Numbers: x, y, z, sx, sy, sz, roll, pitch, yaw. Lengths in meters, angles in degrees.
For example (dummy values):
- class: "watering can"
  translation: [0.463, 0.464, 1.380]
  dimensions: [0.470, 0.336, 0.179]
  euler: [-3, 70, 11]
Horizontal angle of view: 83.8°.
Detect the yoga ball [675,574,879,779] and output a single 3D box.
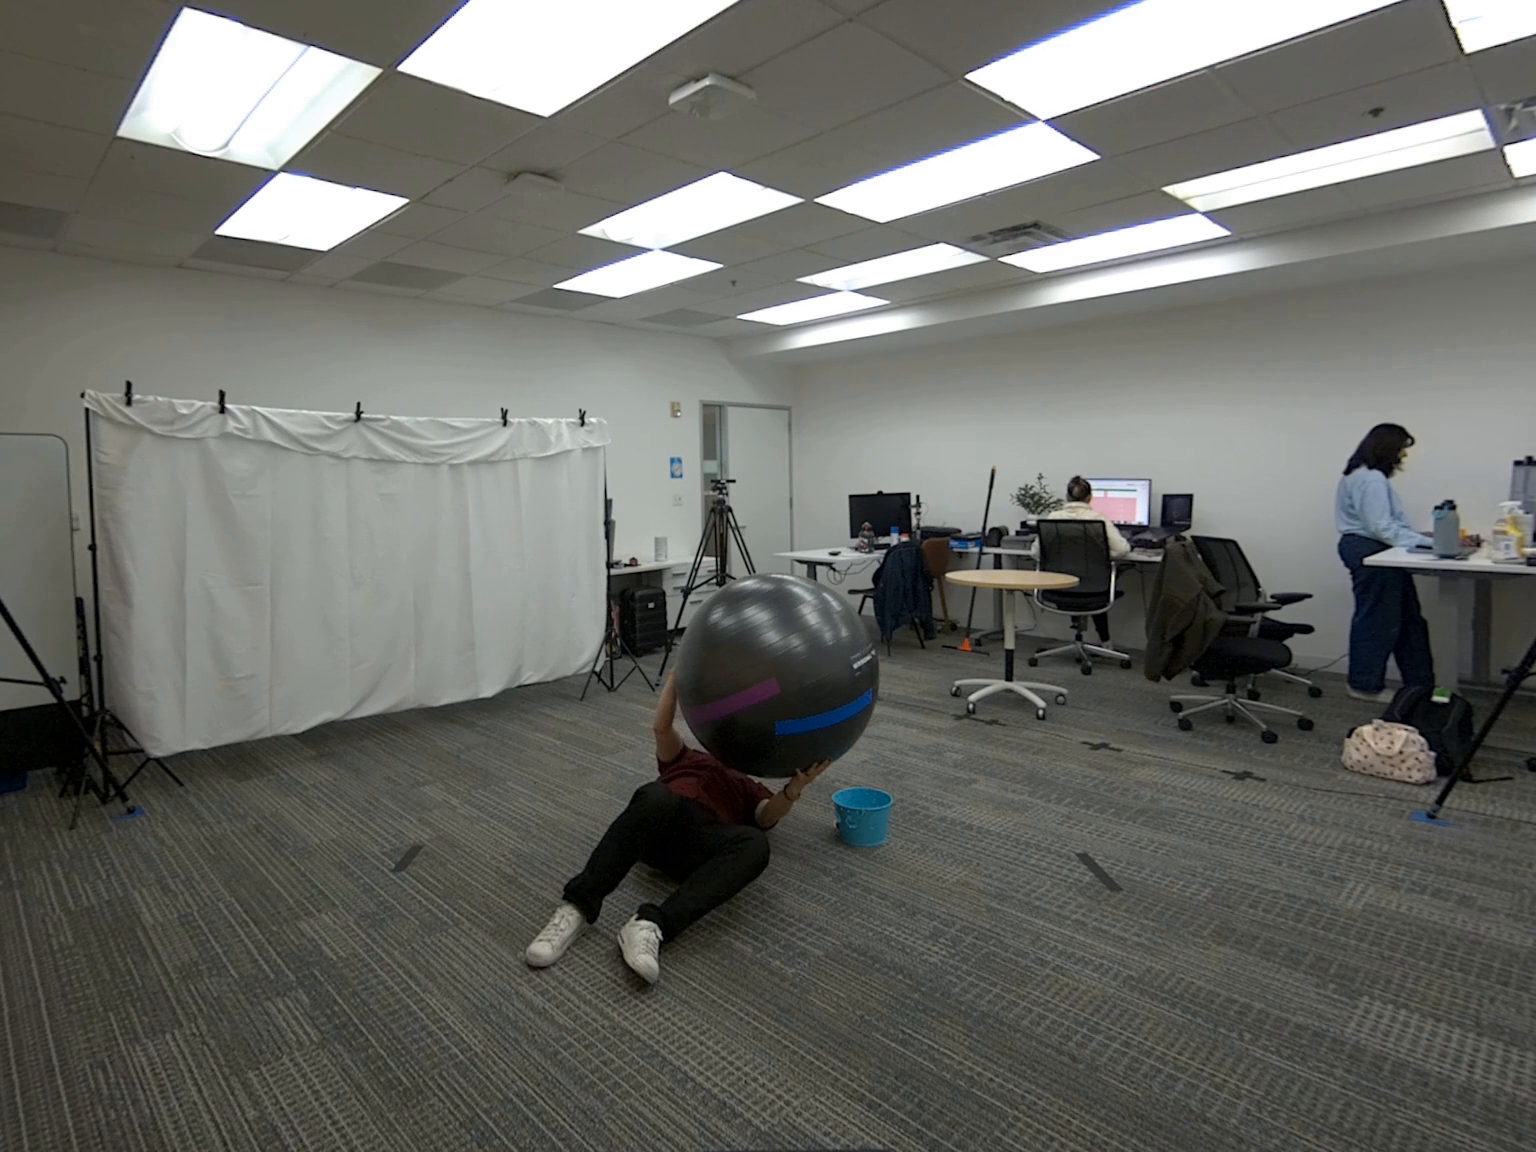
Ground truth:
- class: "yoga ball"
  translation: [0.031, 0.369, 3.192]
  dimensions: [0.757, 0.755, 0.762]
  euler: [-1, 5, -2]
